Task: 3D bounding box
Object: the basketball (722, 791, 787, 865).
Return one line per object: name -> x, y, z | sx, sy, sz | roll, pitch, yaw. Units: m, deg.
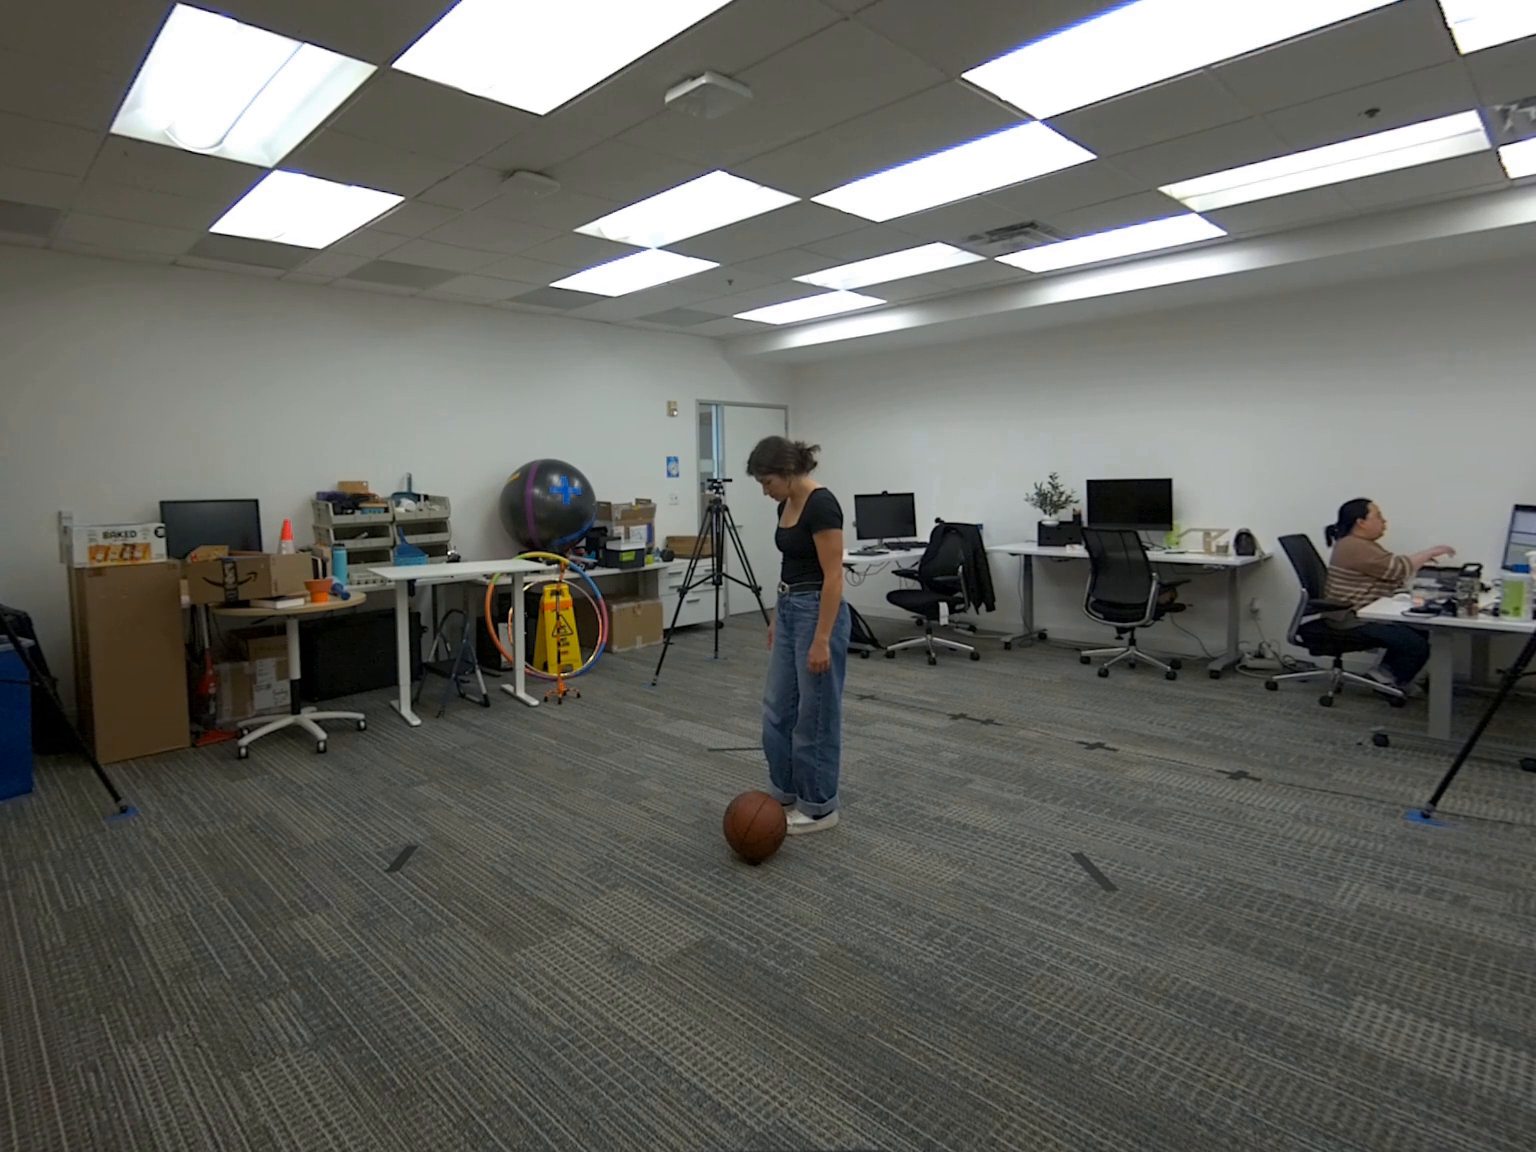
basketball -> -0.045, 0.917, 3.157 | 0.236, 0.235, 0.237 | -1, 5, -2
